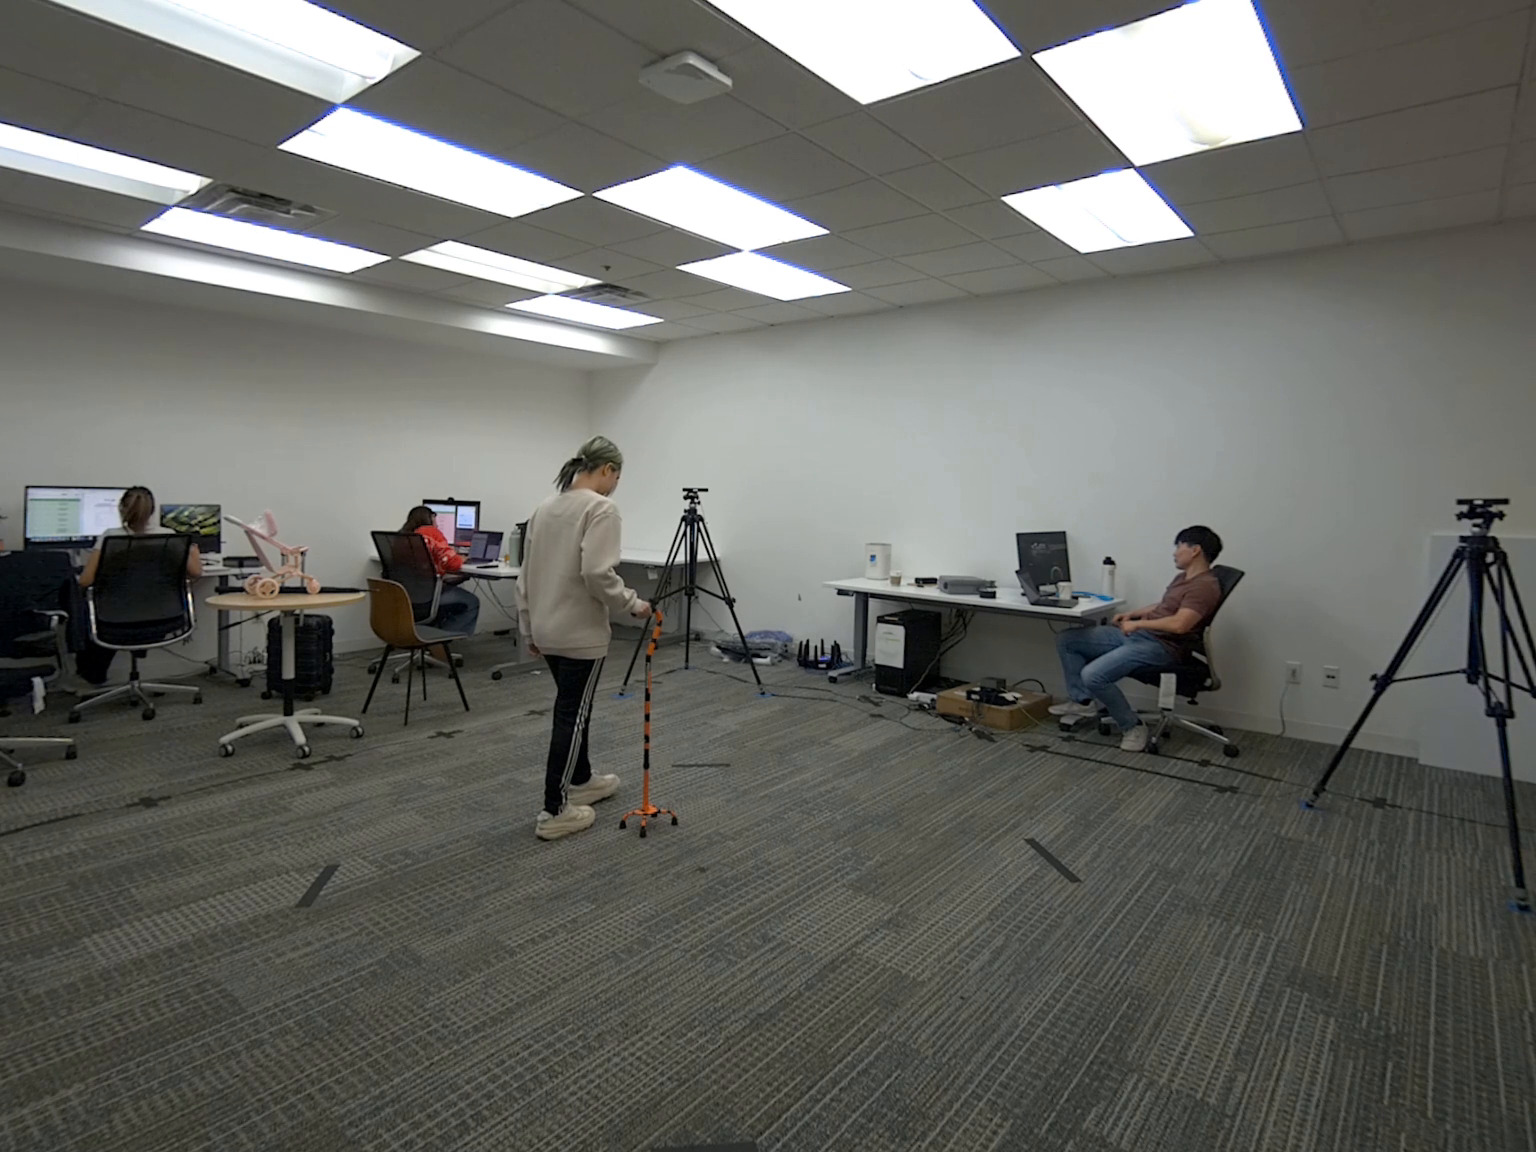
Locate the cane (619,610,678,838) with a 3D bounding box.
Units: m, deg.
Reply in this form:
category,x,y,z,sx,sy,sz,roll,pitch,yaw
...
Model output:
category,x,y,z,sx,sy,sz,roll,pitch,yaw
cane,-0.491,0.578,3.480,0.157,0.905,0.200,4,4,39
